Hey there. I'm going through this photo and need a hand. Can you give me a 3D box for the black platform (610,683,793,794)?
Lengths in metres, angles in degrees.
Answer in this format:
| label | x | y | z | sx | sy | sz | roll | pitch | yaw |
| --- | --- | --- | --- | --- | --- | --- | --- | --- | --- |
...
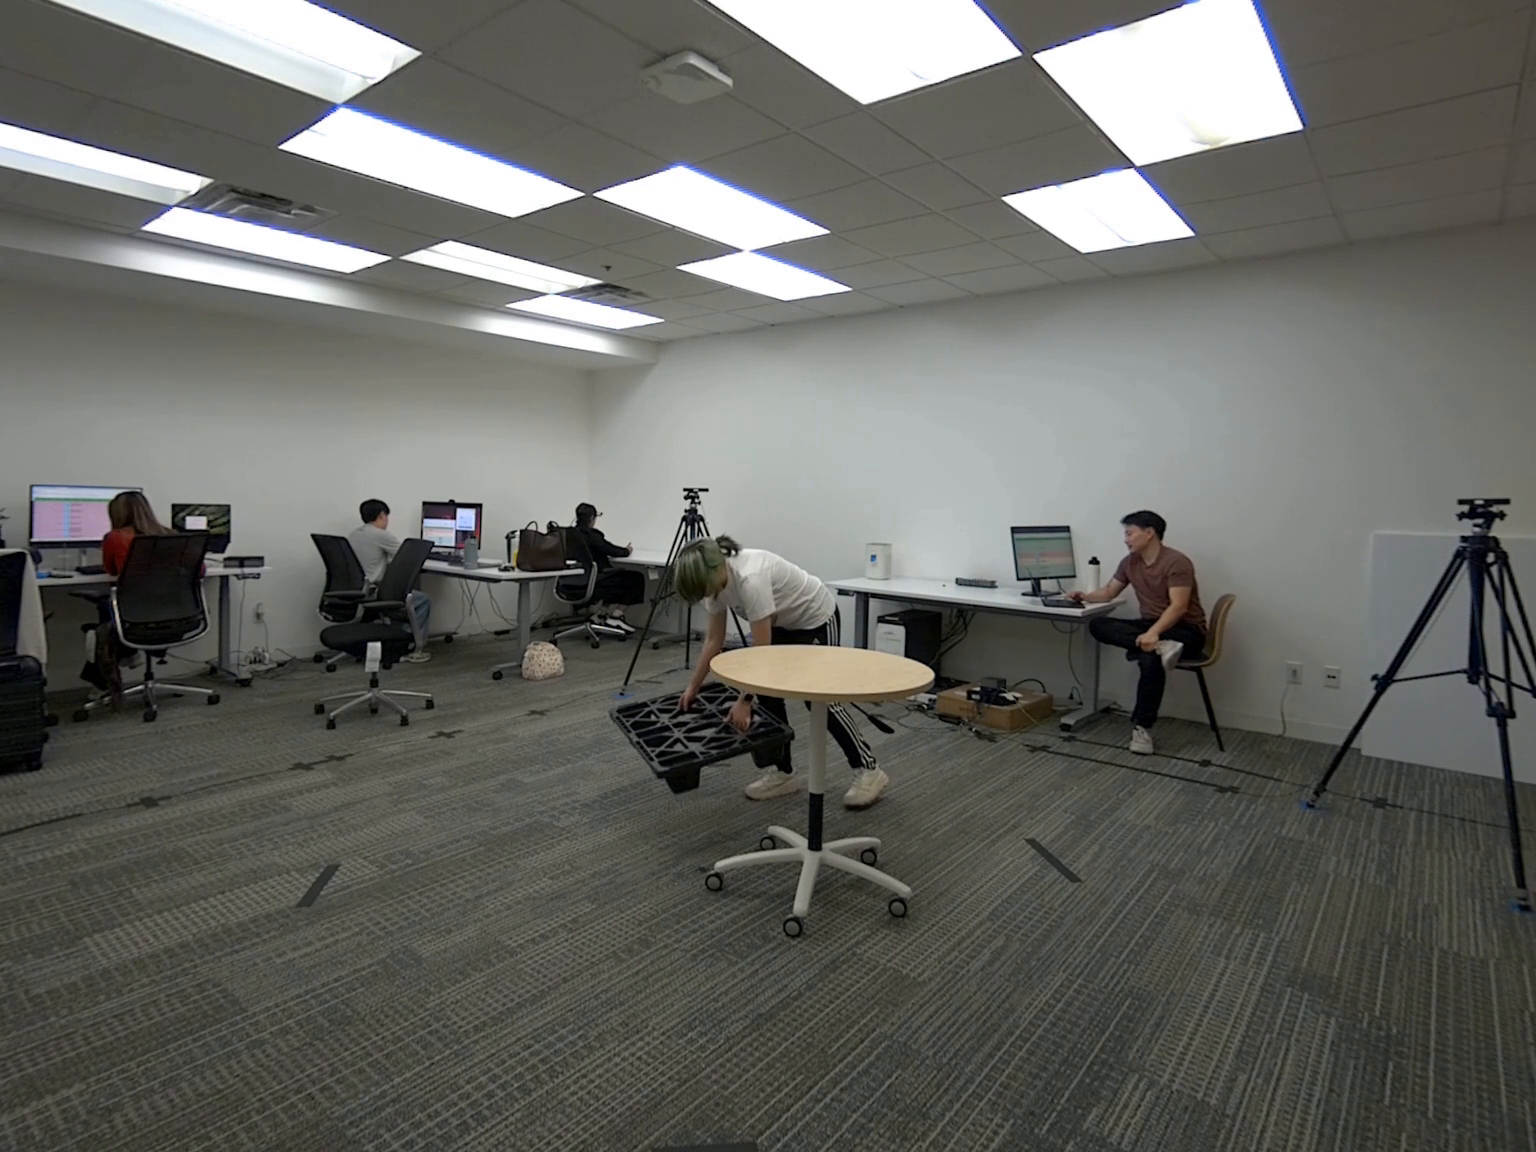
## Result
| label | x | y | z | sx | sy | sz | roll | pitch | yaw |
| --- | --- | --- | --- | --- | --- | --- | --- | --- | --- |
| black platform | -0.330 | 0.690 | 3.760 | 0.595 | 0.141 | 0.829 | -12 | 14 | -21 |
